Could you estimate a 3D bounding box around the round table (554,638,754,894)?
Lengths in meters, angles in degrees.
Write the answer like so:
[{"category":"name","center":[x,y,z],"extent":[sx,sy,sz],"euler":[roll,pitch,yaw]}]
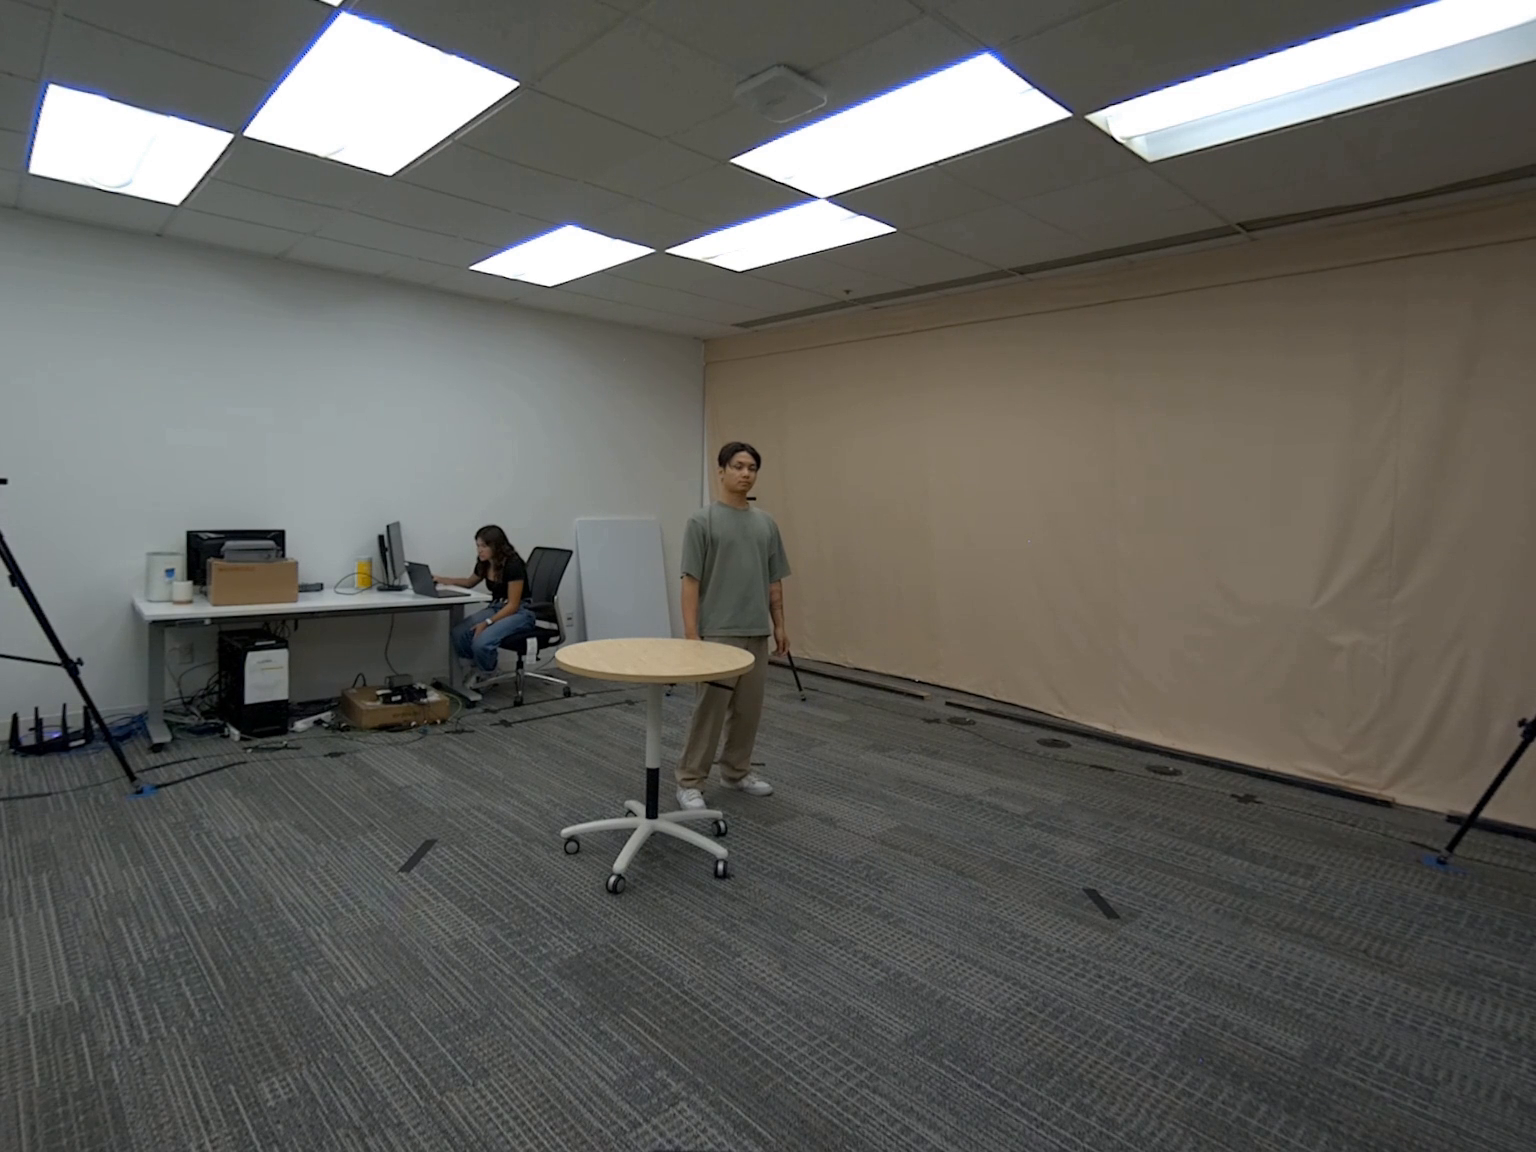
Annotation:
[{"category":"round table","center":[-0.463,0.699,3.273],"extent":[0.763,0.792,0.766],"euler":[1,4,-1]}]
